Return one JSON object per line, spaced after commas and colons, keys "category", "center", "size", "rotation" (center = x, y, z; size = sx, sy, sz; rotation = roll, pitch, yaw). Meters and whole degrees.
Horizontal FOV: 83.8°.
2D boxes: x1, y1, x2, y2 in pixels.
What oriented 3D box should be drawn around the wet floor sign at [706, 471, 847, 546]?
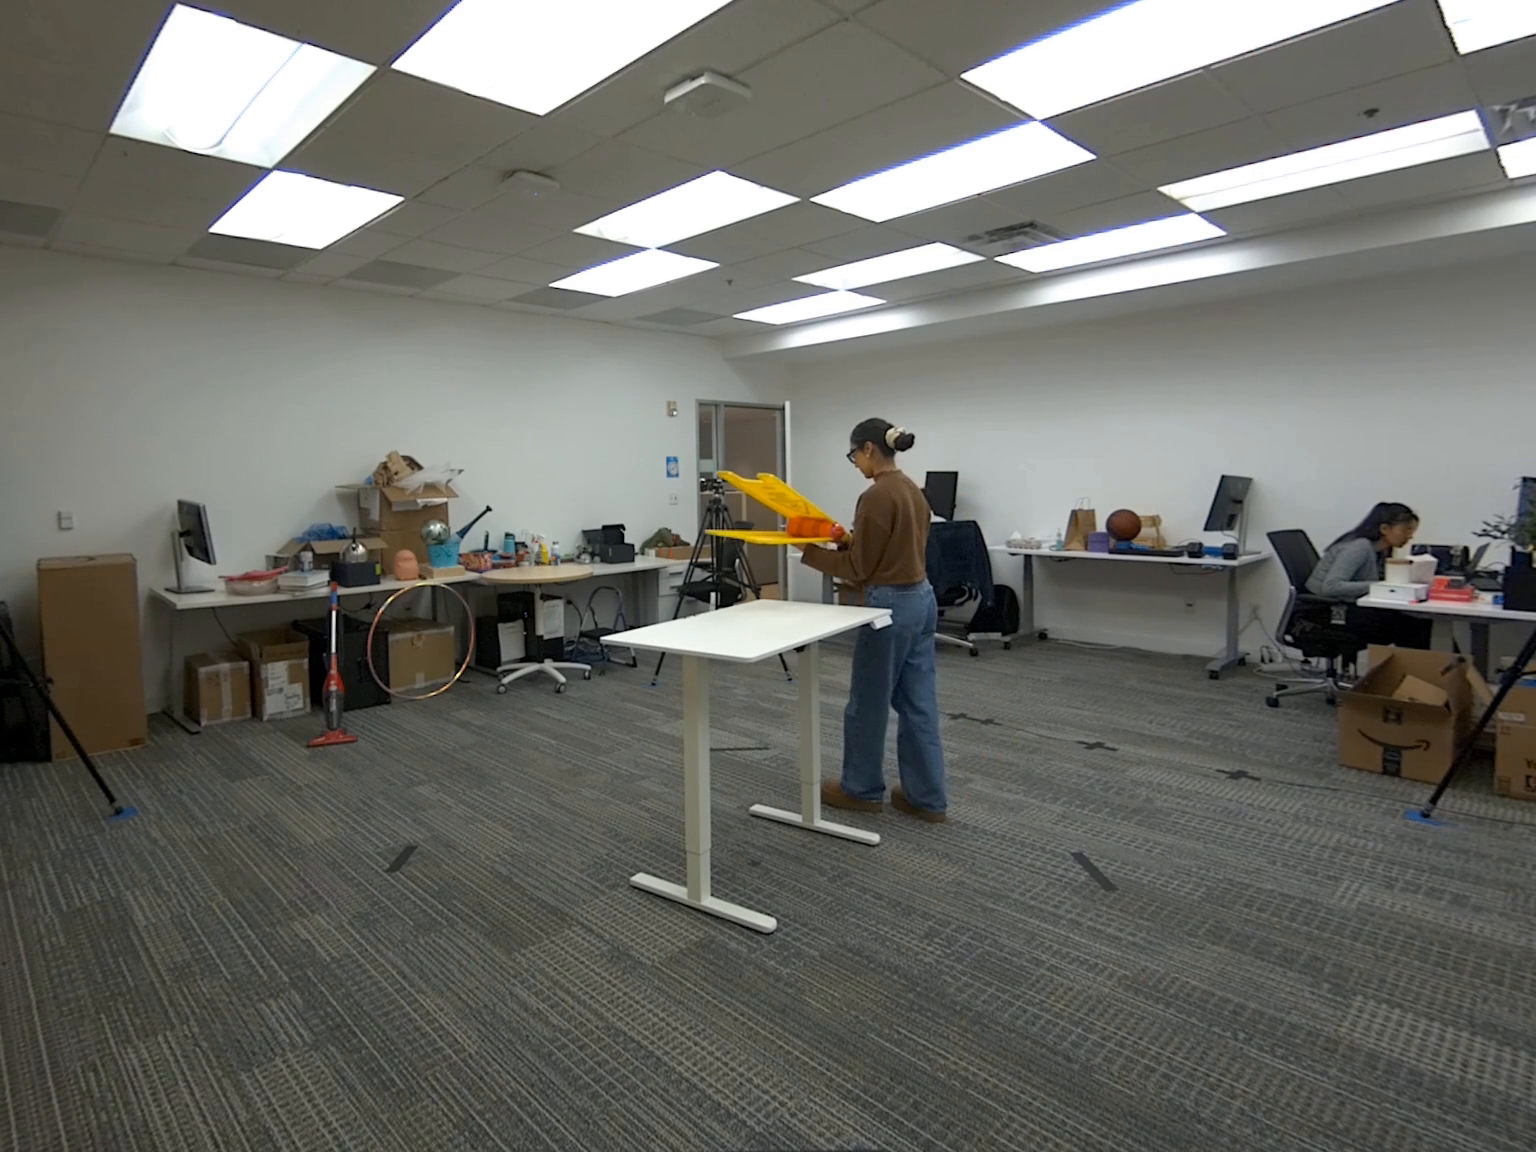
{"category": "wet floor sign", "center": [0.080, -0.215, 3.438], "size": [0.291, 0.290, 0.625], "rotation": [9, -1, 38]}
